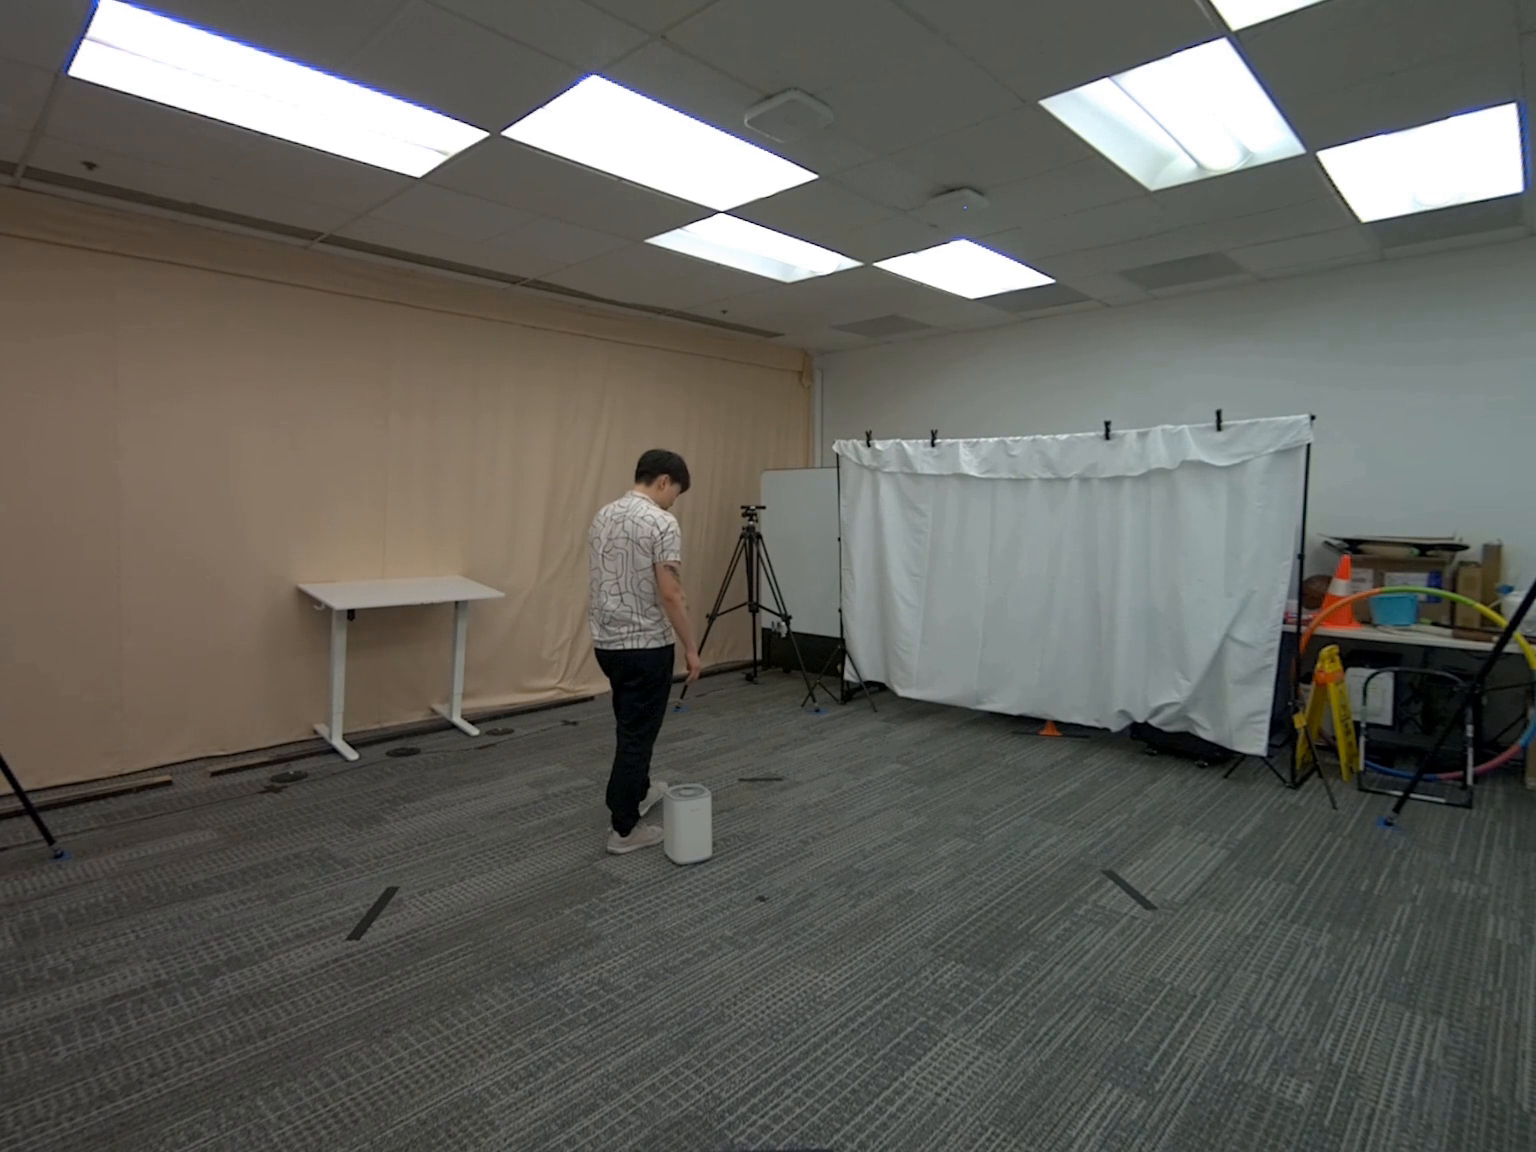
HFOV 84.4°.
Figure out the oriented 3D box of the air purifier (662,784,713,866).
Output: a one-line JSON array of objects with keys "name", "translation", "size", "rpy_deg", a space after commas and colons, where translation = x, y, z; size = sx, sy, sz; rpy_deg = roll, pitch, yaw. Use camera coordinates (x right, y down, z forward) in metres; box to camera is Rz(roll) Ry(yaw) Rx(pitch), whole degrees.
[{"name": "air purifier", "translation": [-0.320, 0.981, 3.337], "size": [0.167, 0.265, 0.176], "rpy_deg": [-3, 4, -26]}]
